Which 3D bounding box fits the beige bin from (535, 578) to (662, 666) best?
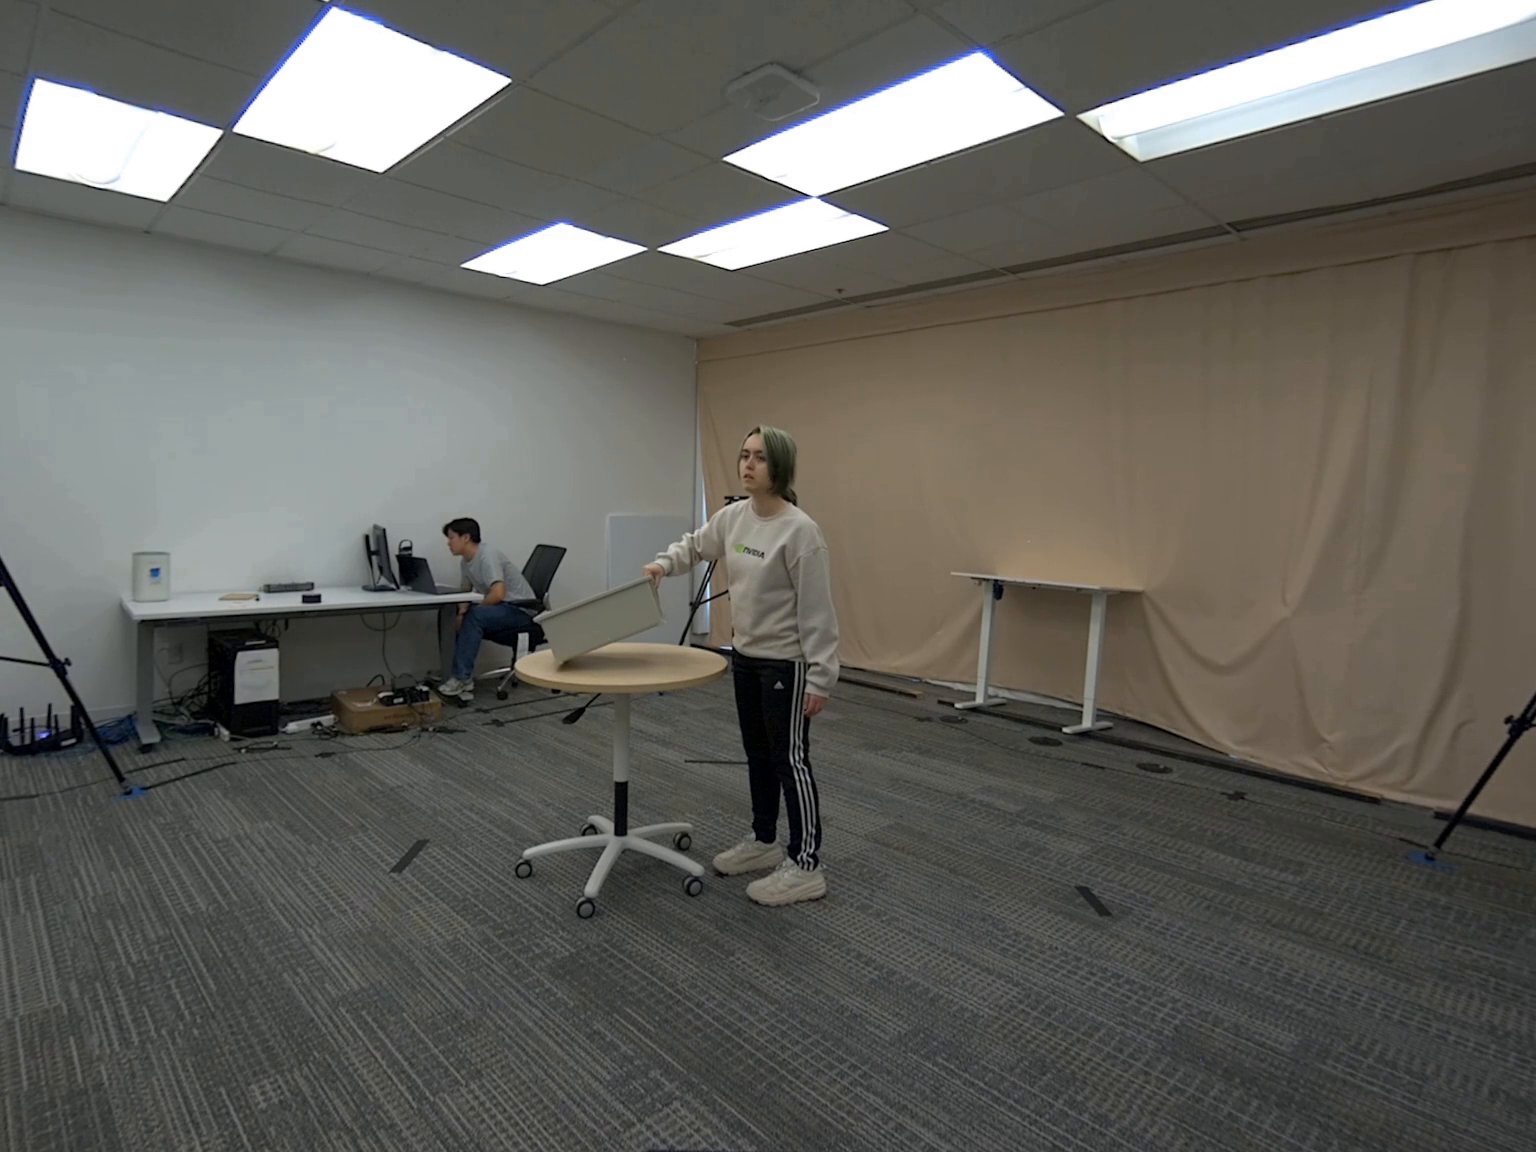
[{"bbox_3d":[-0.590,0.141,3.036,0.422,0.188,0.380,-20,7,-3],"label":"beige bin"}]
